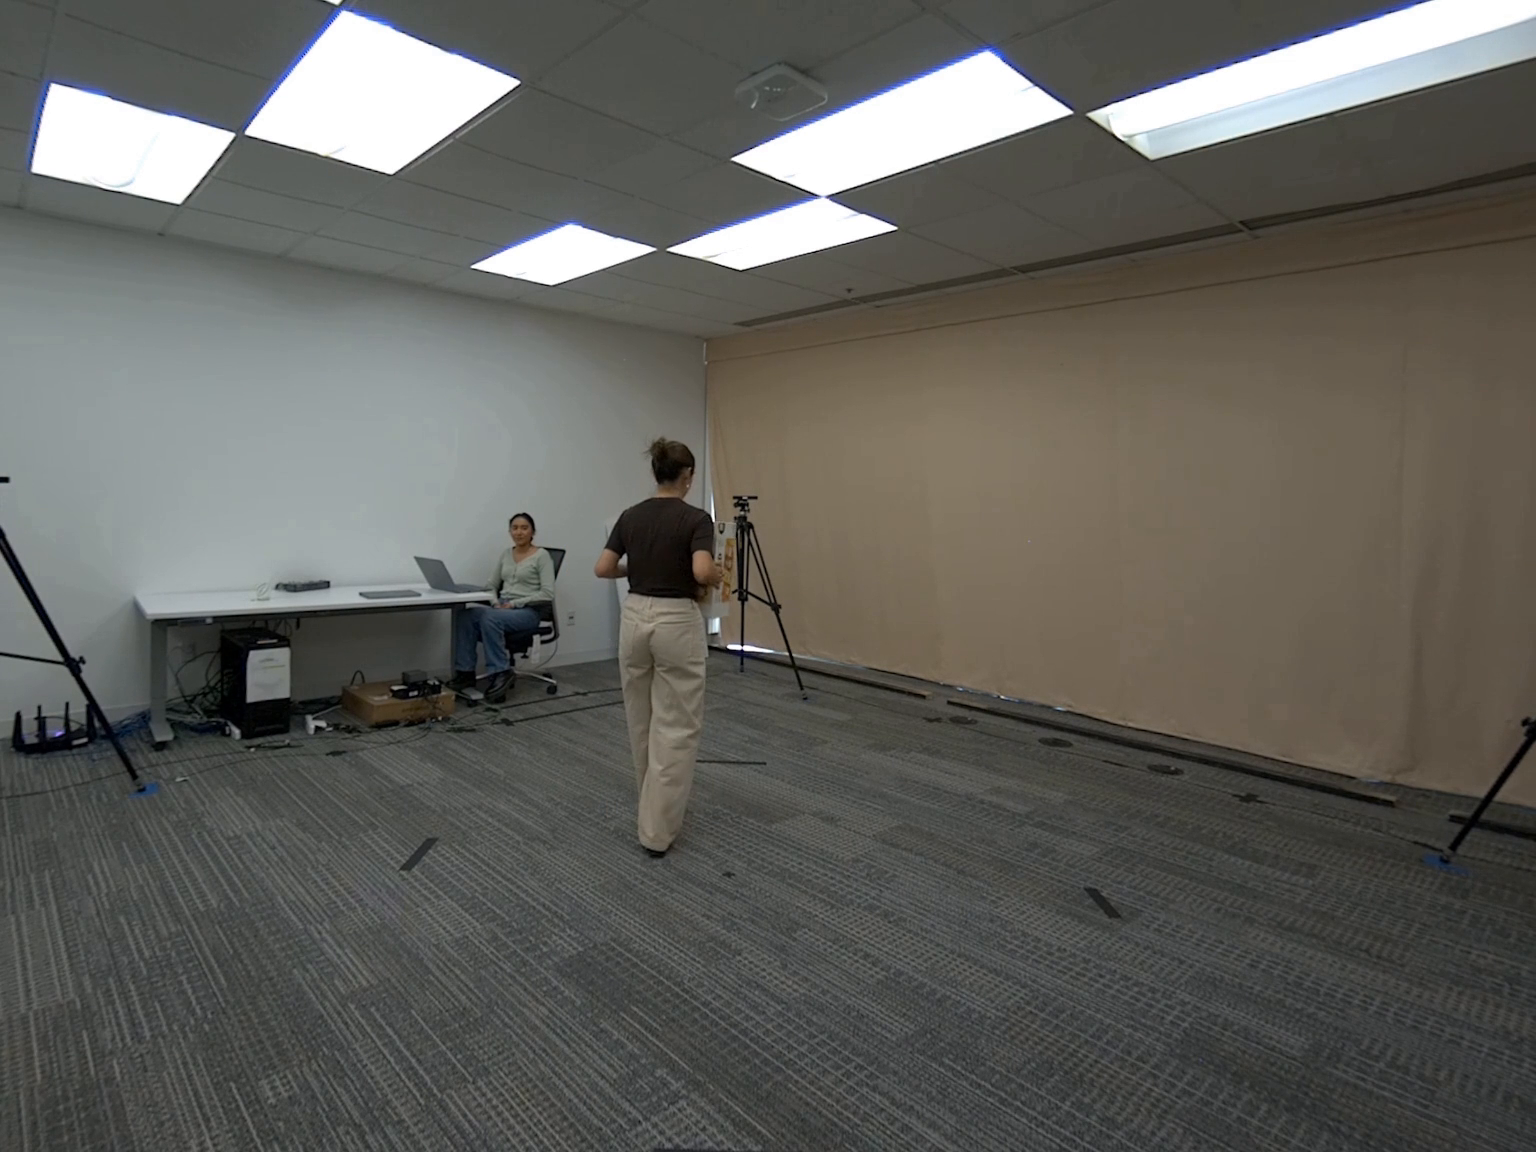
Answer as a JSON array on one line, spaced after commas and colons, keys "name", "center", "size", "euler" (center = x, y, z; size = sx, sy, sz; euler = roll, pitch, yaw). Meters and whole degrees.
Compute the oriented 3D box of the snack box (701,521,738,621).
[{"name": "snack box", "center": [-0.344, -0.041, 3.651], "size": [0.347, 0.405, 0.202], "euler": [5, 2, 23]}]
